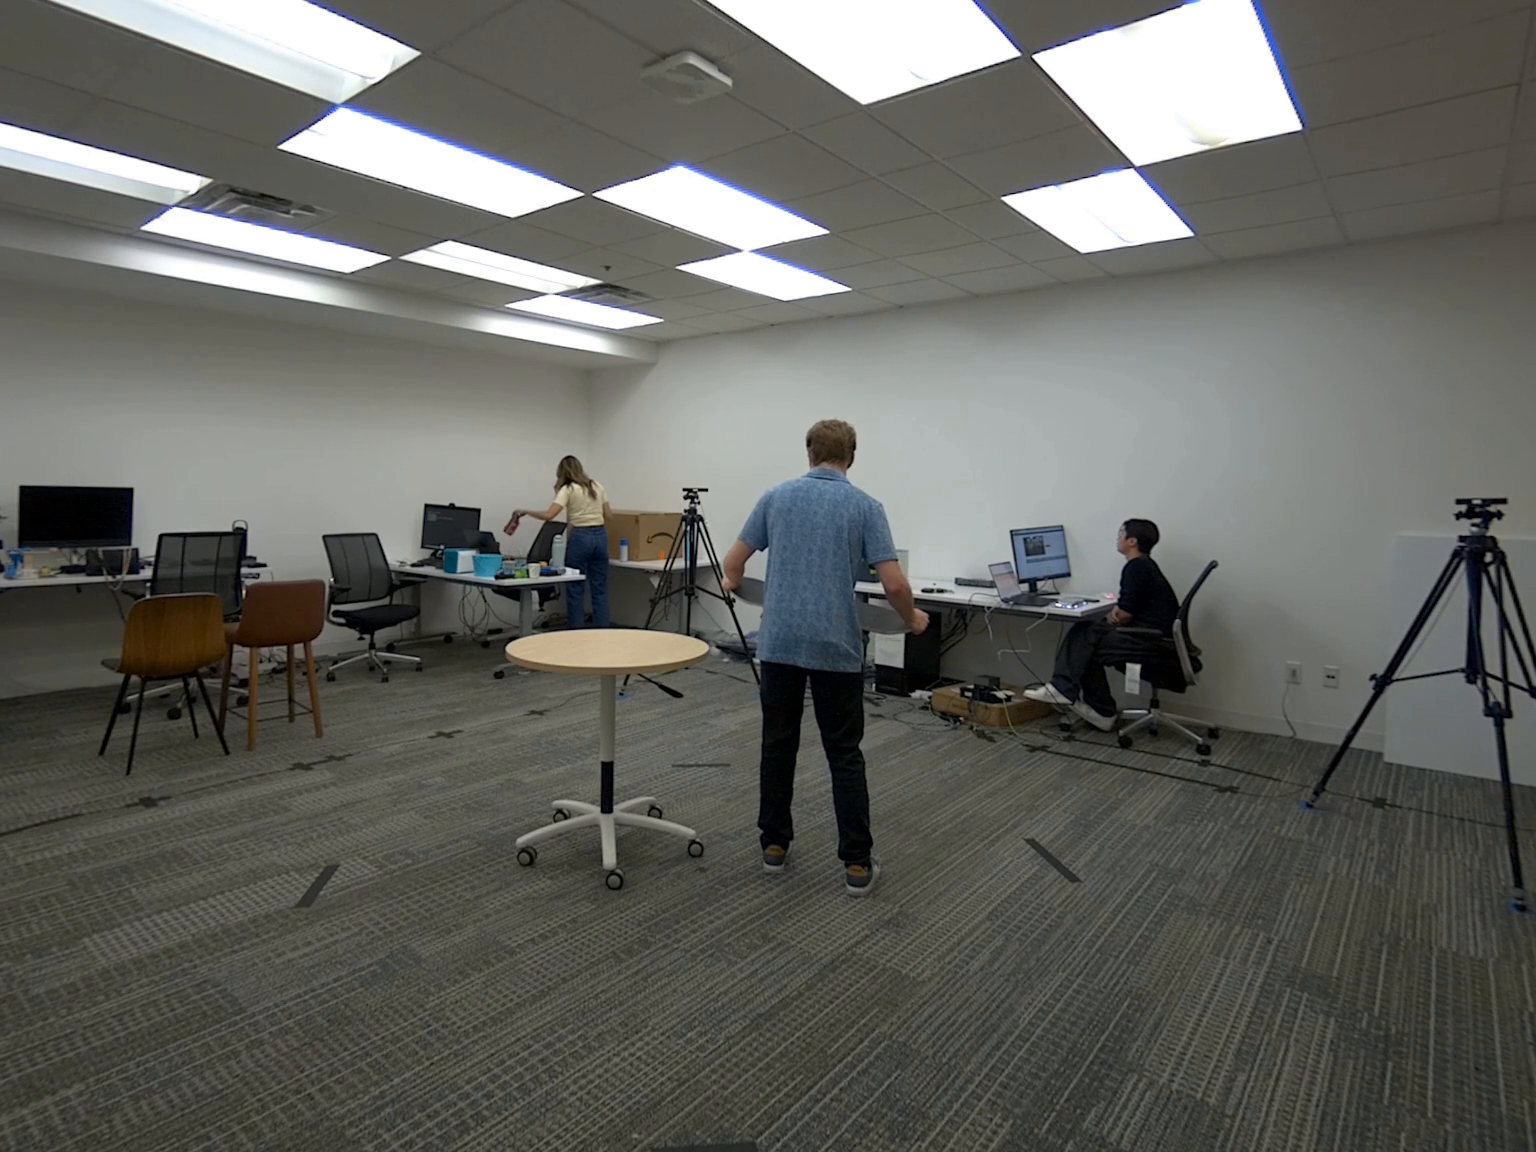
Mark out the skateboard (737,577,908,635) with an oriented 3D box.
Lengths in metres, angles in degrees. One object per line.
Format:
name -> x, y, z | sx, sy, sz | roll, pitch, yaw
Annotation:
skateboard -> 0.204, 0.150, 3.402 | 0.805, 0.108, 0.193 | 12, 28, 21
